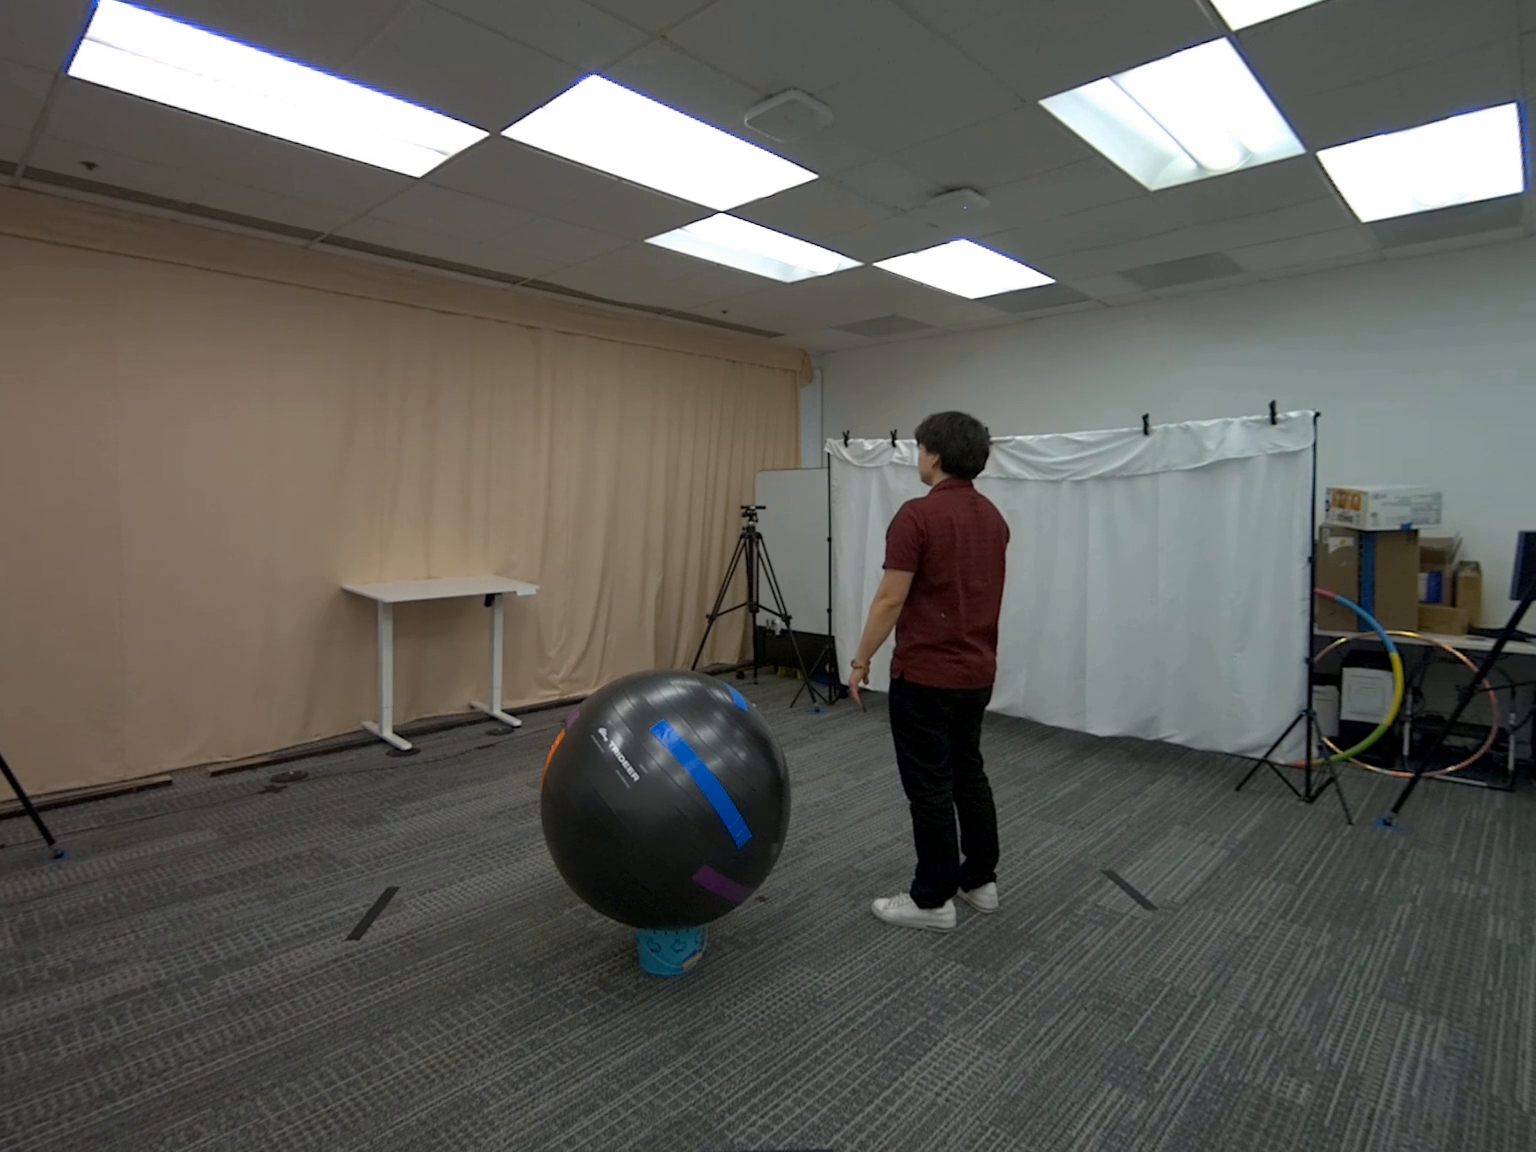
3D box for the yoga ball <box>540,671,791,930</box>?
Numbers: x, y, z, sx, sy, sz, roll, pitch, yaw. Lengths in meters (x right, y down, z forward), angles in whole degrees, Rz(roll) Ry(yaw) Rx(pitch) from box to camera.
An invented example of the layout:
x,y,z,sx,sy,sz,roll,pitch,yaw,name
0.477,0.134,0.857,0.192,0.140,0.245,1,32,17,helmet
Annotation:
x,y,z,sx,sy,sz,roll,pitch,yaw,name
-0.319,0.674,2.558,0.757,0.756,0.760,0,4,-2,yoga ball
